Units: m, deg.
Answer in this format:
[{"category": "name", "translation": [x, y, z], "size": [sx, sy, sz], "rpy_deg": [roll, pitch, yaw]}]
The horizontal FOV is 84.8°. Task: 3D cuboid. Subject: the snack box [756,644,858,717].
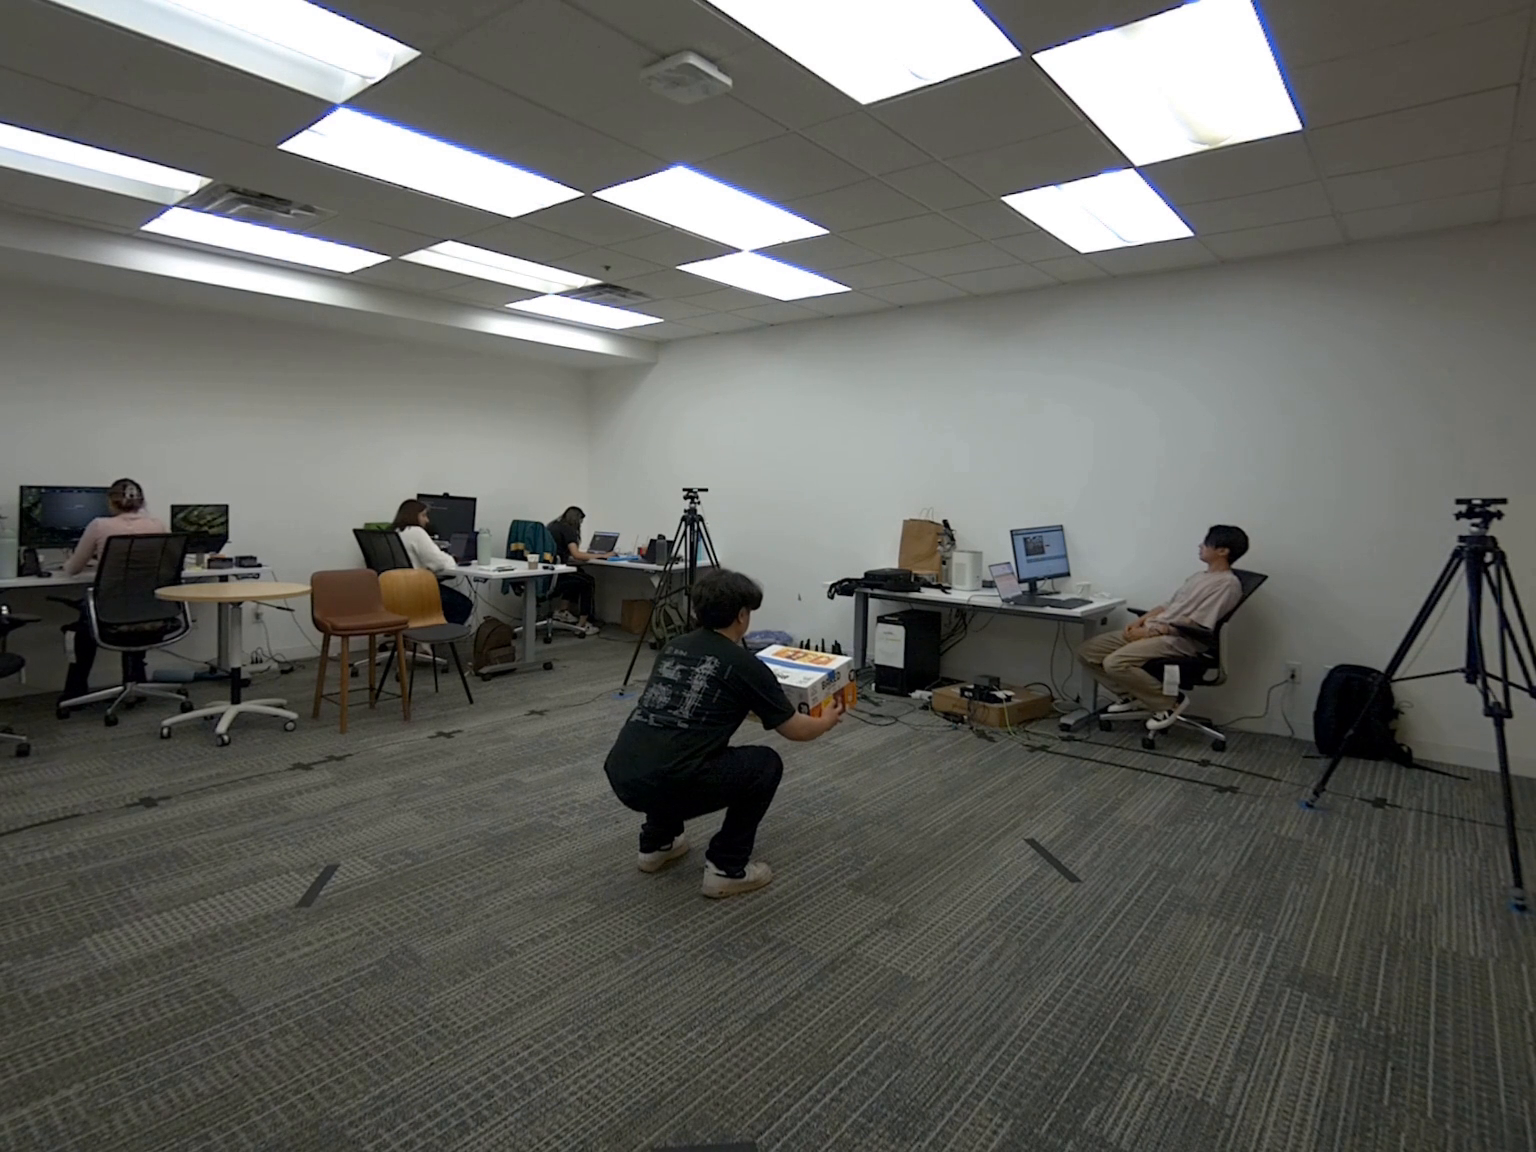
[{"category": "snack box", "translation": [0.085, 0.455, 3.487], "size": [0.419, 0.203, 0.333], "rpy_deg": [5, 17, 38]}]
